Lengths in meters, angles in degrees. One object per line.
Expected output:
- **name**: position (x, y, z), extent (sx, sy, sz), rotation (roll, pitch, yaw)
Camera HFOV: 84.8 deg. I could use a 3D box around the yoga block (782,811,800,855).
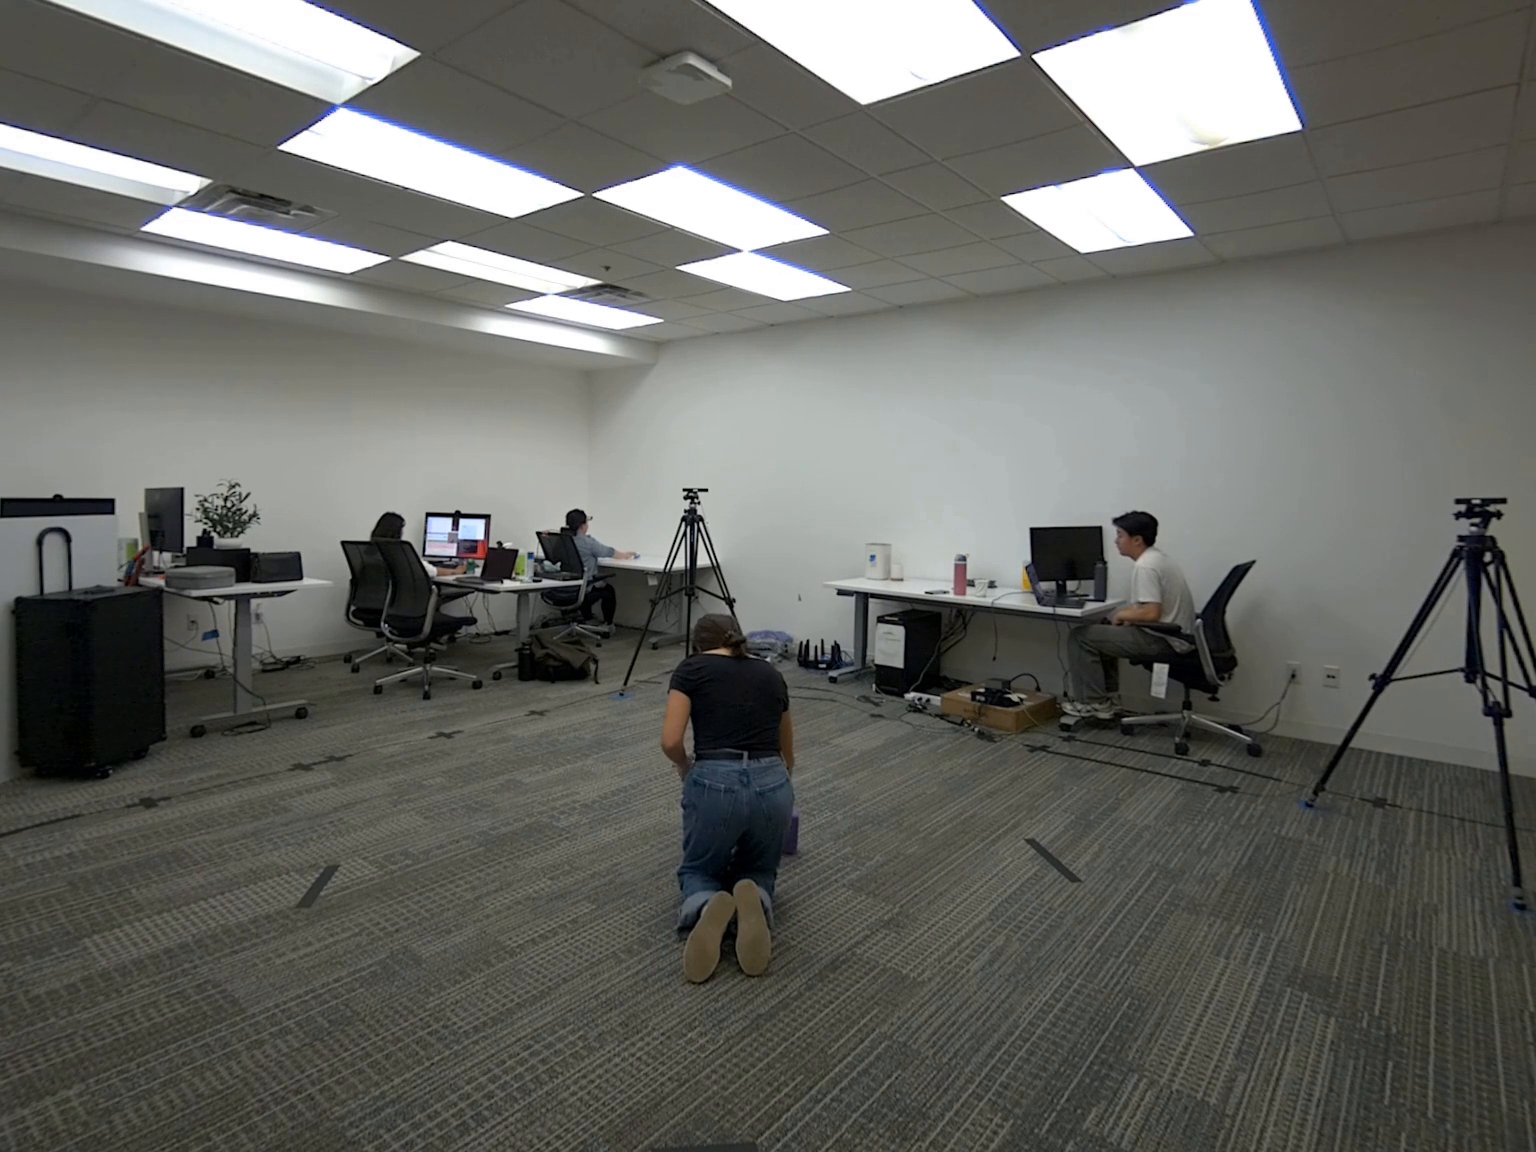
- **yoga block**: position (0.008, 0.957, 3.265), extent (0.229, 0.148, 0.077), rotation (2, 5, 0)
